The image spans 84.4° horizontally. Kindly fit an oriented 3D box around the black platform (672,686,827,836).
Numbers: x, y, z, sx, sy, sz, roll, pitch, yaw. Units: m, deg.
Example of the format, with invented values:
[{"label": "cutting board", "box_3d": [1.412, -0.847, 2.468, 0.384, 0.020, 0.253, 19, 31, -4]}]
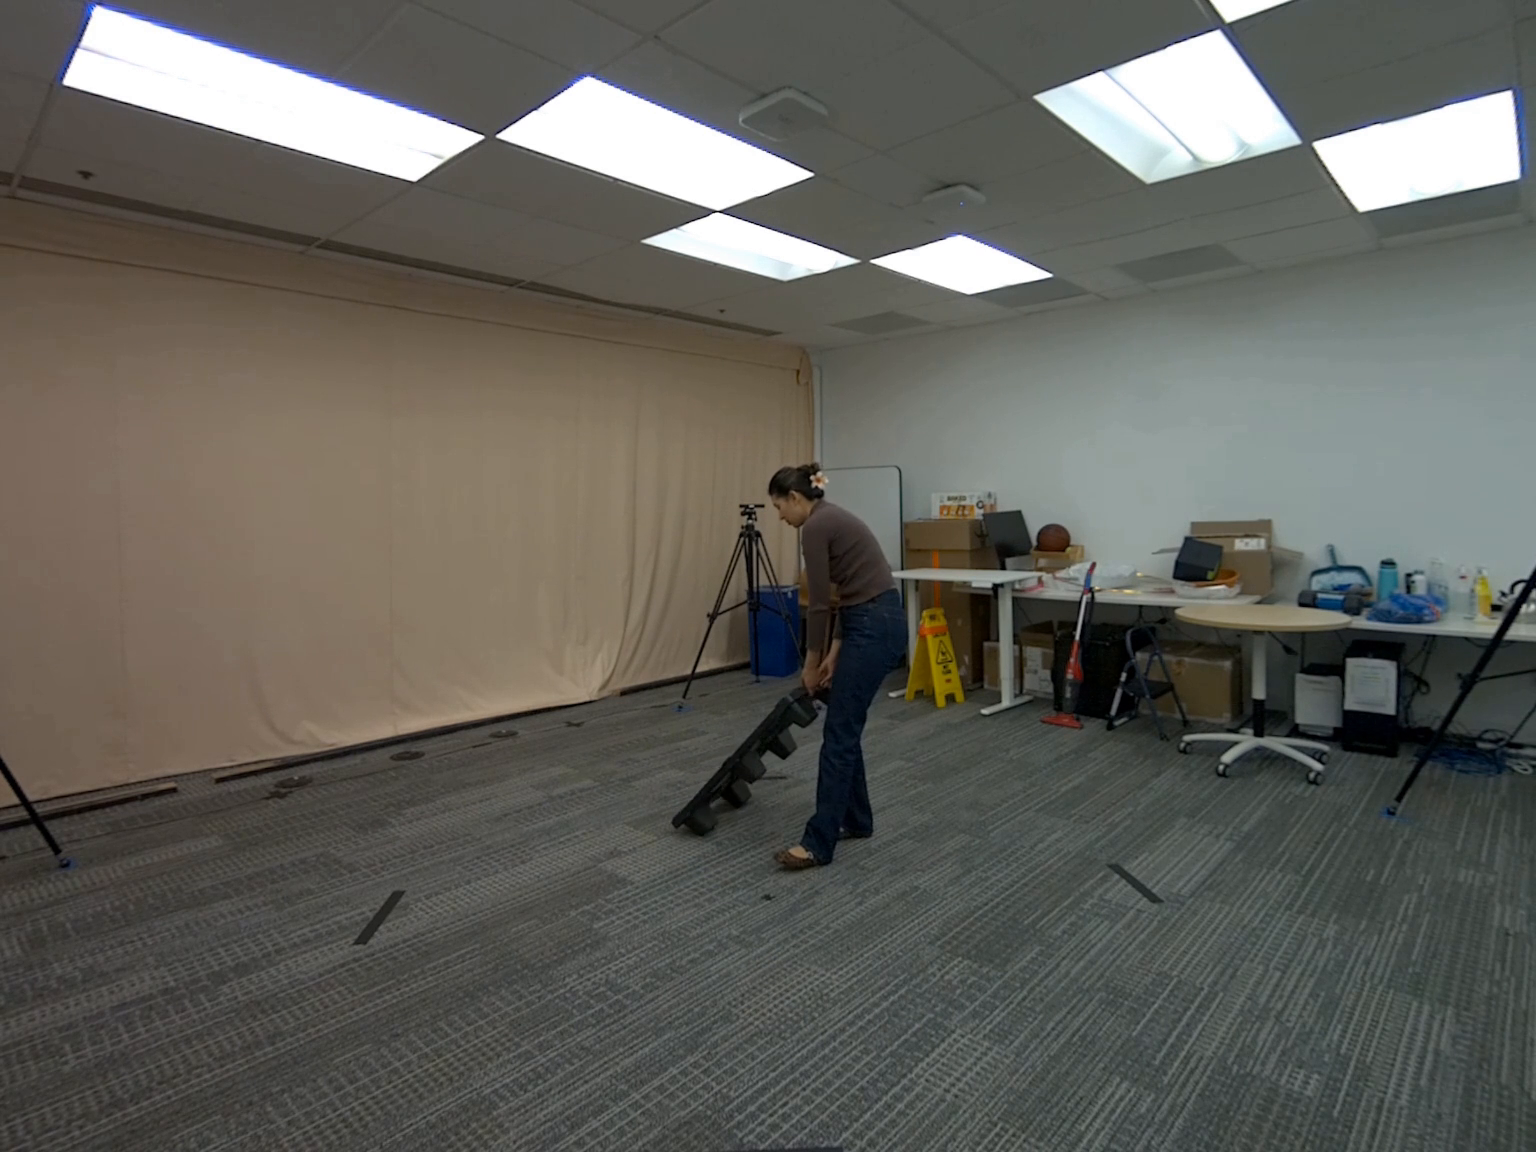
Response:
[{"label": "black platform", "box_3d": [-0.019, 0.765, 3.642, 0.146, 0.808, 0.592, 44, 19, 14]}]
